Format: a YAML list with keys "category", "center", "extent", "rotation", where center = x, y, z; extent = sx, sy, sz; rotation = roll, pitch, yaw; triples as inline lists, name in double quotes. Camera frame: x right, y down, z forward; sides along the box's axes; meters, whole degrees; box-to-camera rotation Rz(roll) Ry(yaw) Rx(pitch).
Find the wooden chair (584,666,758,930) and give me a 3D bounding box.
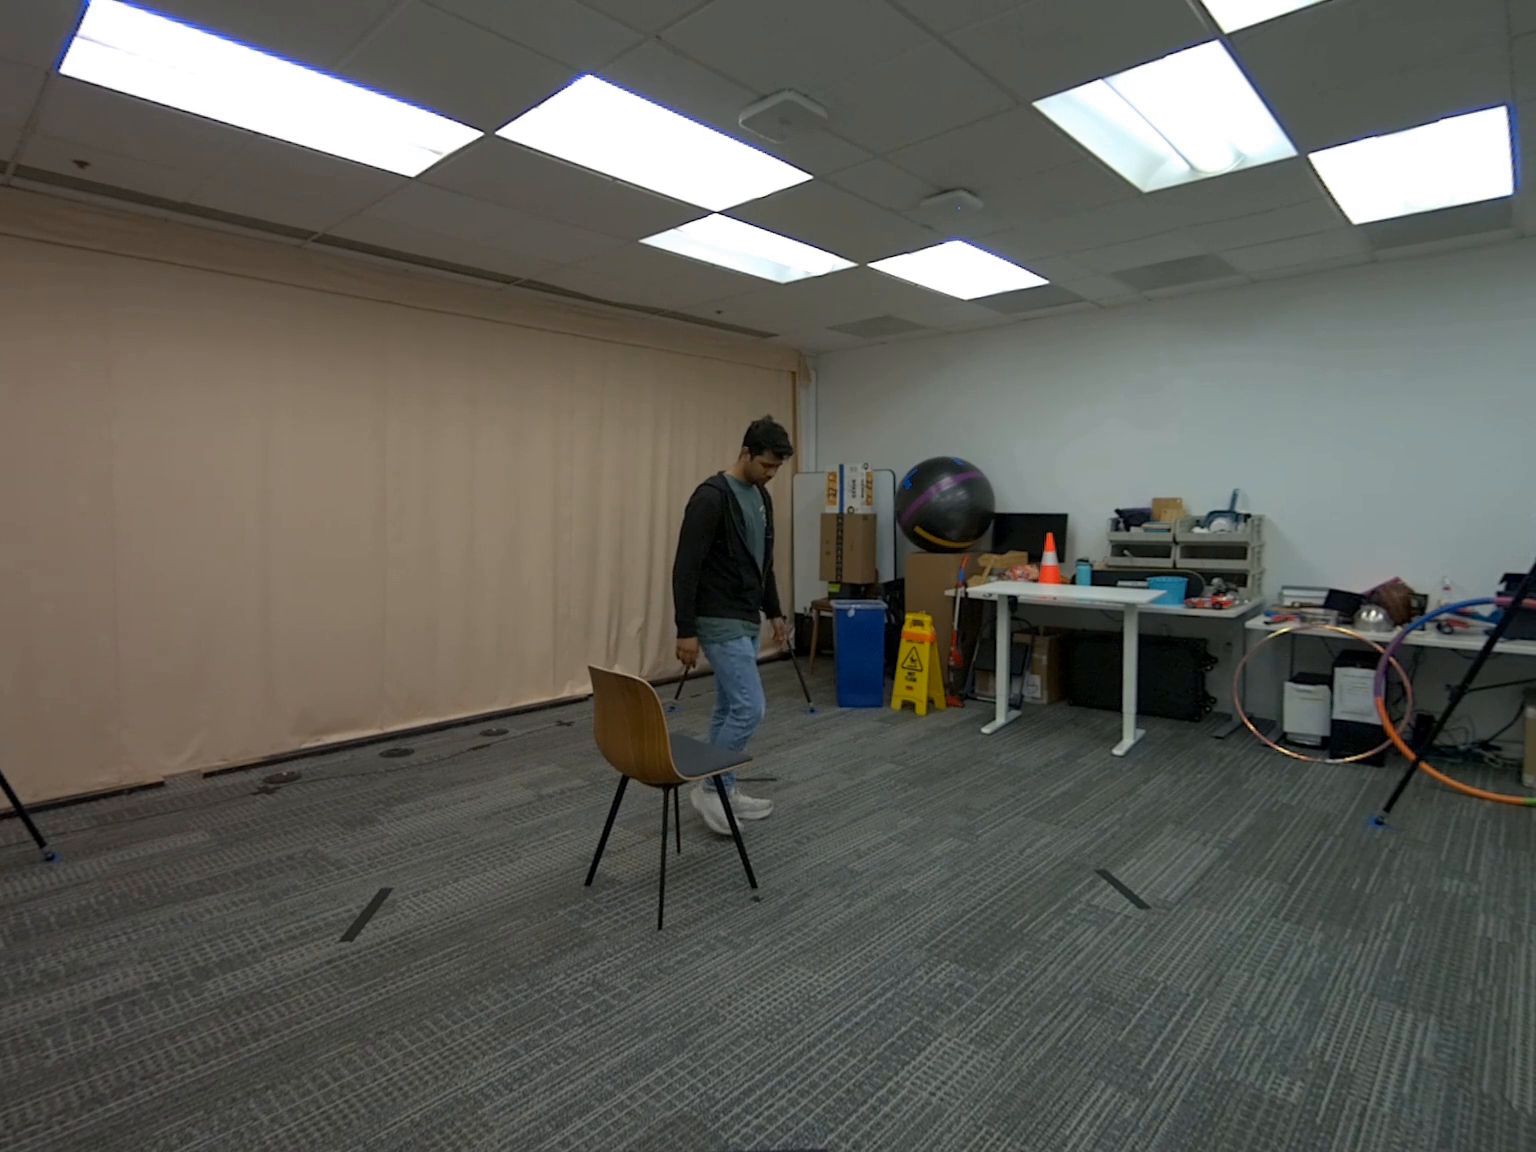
- category: "wooden chair"
  center: [-0.352, 0.715, 3.056]
  extent: [0.508, 0.874, 0.494]
  rotation: [-9, 8, -42]
